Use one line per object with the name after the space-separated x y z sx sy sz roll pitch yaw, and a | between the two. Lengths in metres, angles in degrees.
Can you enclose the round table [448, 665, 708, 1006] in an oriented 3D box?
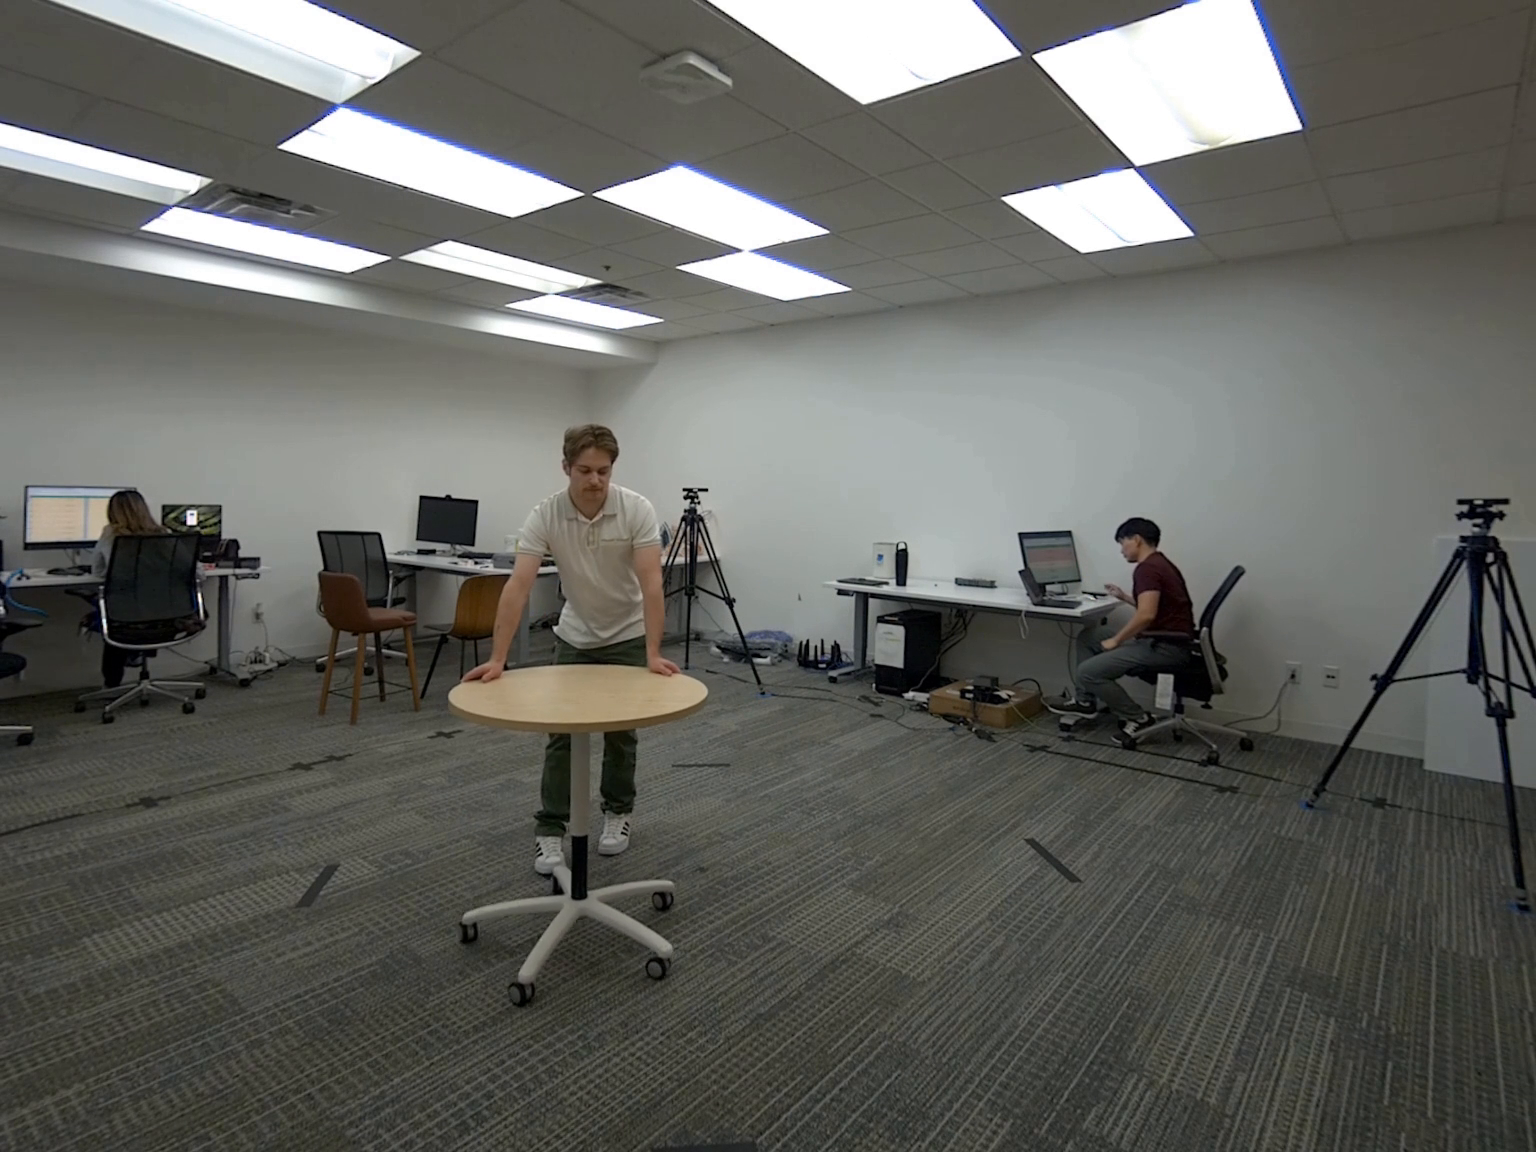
-0.578 0.729 2.578 0.763 0.792 0.767 1 4 -2 | round table
